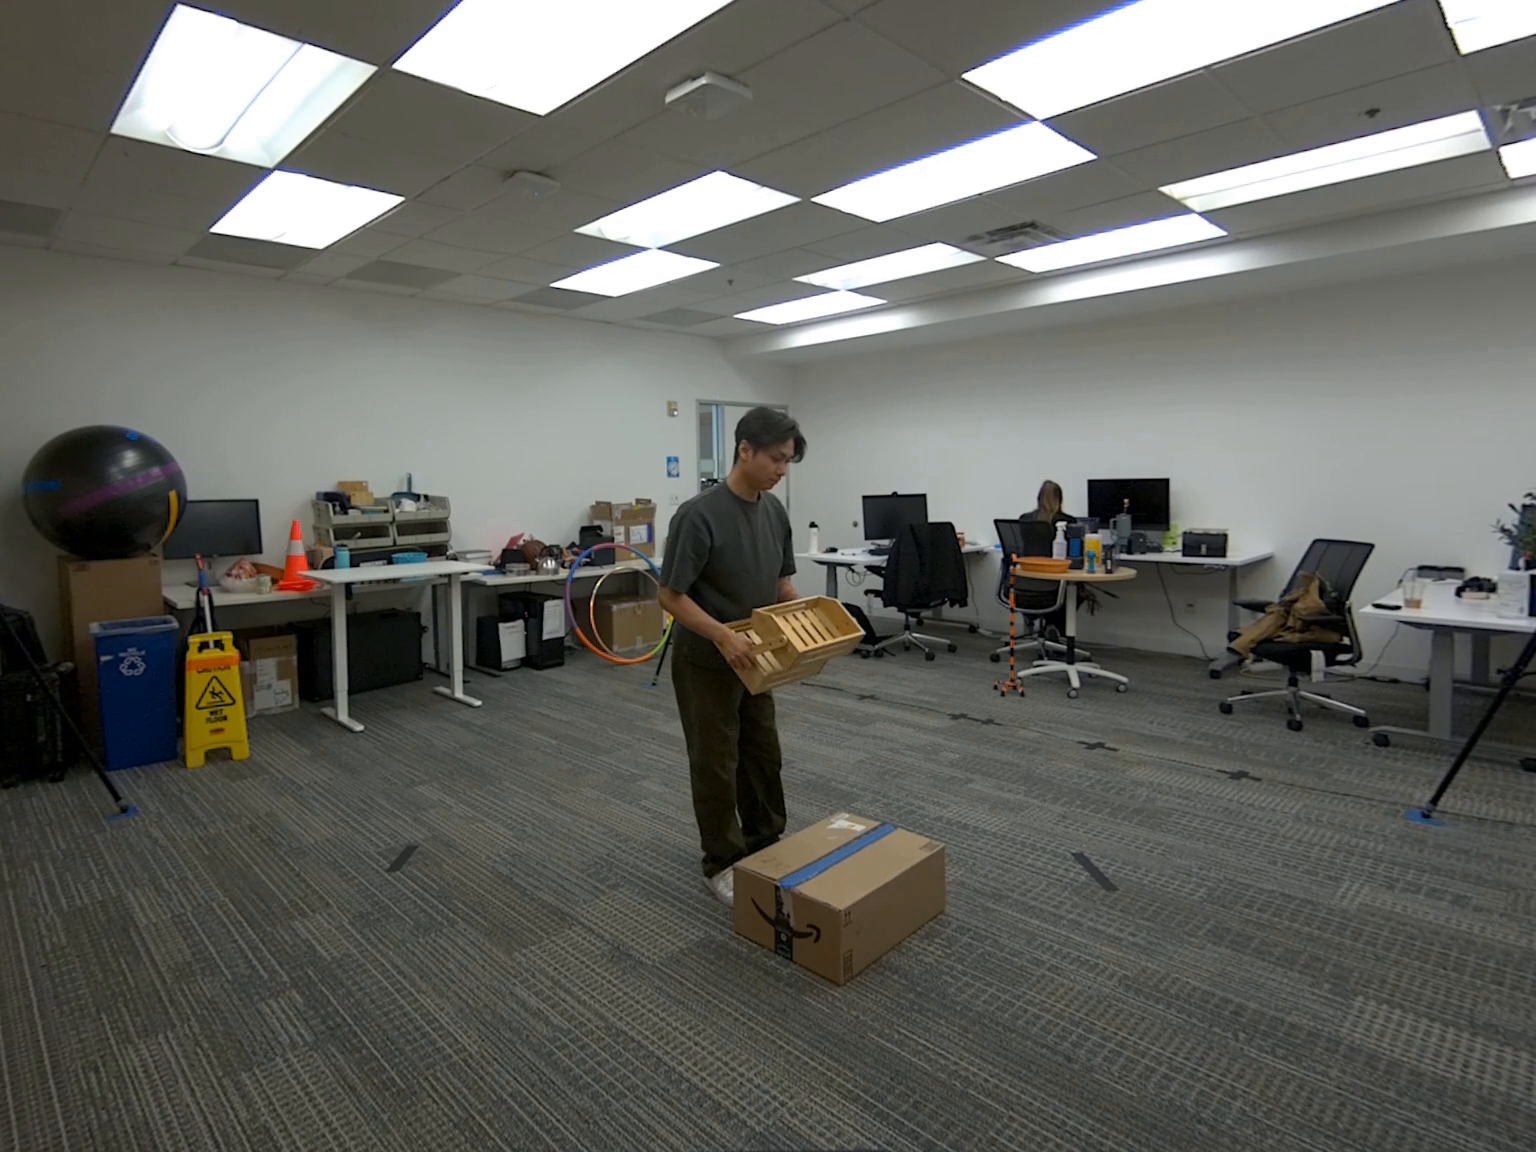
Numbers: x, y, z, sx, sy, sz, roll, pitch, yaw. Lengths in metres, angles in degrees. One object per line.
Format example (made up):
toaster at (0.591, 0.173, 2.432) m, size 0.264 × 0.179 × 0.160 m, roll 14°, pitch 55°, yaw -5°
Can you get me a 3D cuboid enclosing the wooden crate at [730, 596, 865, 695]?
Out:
wooden crate at (0.065, 0.182, 2.686) m, size 0.316 × 0.271 × 0.312 m, roll -9°, pitch 50°, yaw -43°
